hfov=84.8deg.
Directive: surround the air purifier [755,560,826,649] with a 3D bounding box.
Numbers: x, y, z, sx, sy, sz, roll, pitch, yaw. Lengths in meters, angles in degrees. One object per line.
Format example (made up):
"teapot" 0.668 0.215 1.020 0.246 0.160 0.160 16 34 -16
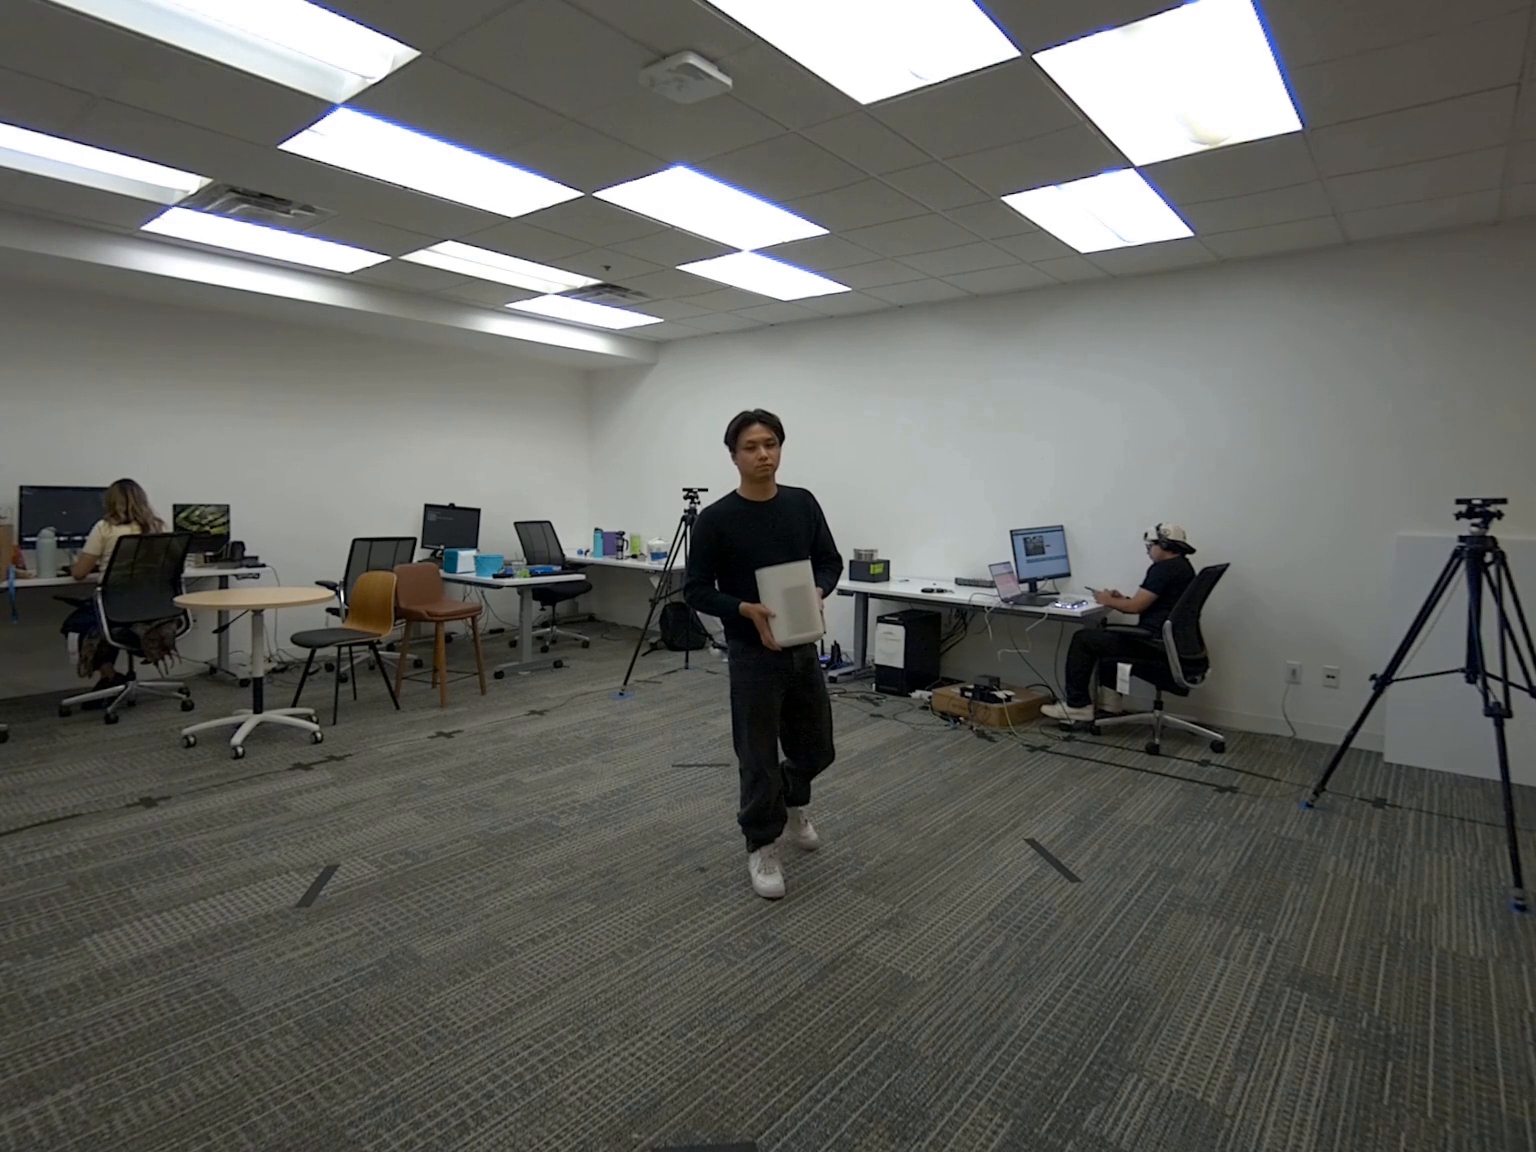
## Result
"air purifier" 0.063 0.091 2.845 0.169 0.267 0.172 -10 -6 -15
